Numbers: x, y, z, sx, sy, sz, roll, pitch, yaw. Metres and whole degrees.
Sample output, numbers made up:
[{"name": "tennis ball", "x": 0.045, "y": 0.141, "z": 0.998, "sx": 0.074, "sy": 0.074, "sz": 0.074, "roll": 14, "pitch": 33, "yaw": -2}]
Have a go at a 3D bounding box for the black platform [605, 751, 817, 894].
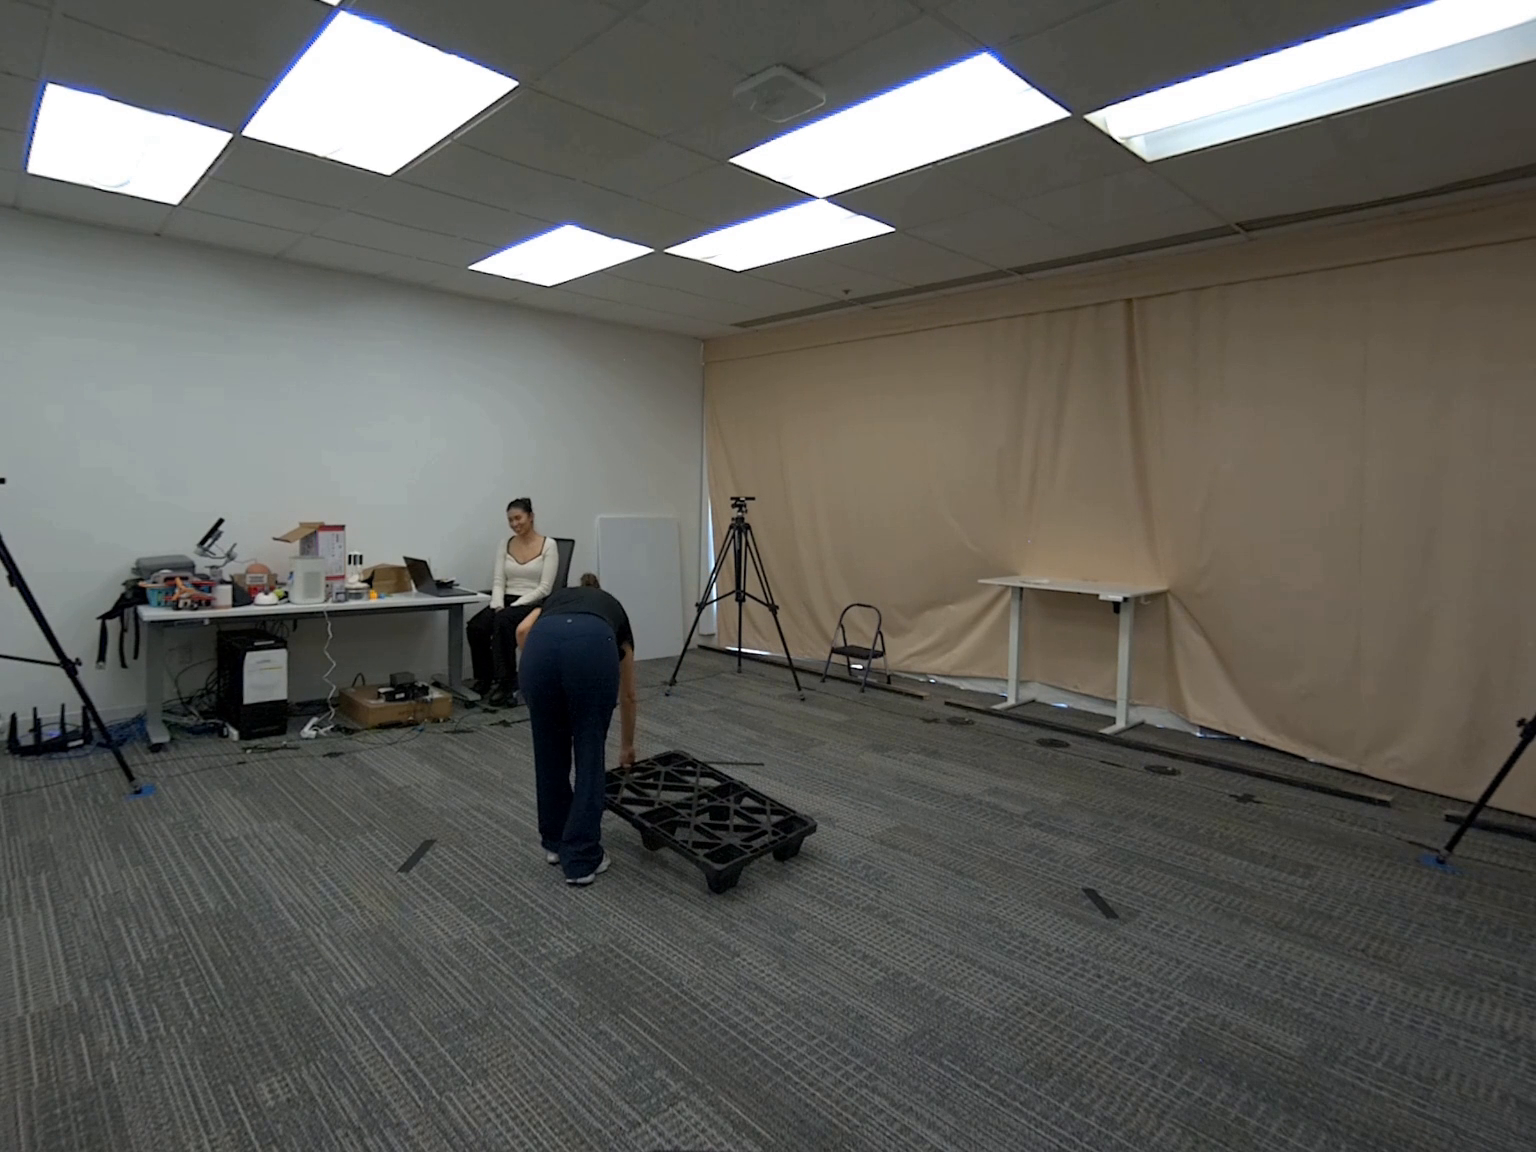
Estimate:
[{"name": "black platform", "x": -0.304, "y": 0.964, "z": 3.337, "sx": 0.828, "sy": 0.142, "sz": 0.592, "roll": 16, "pitch": 14, "yaw": 38}]
